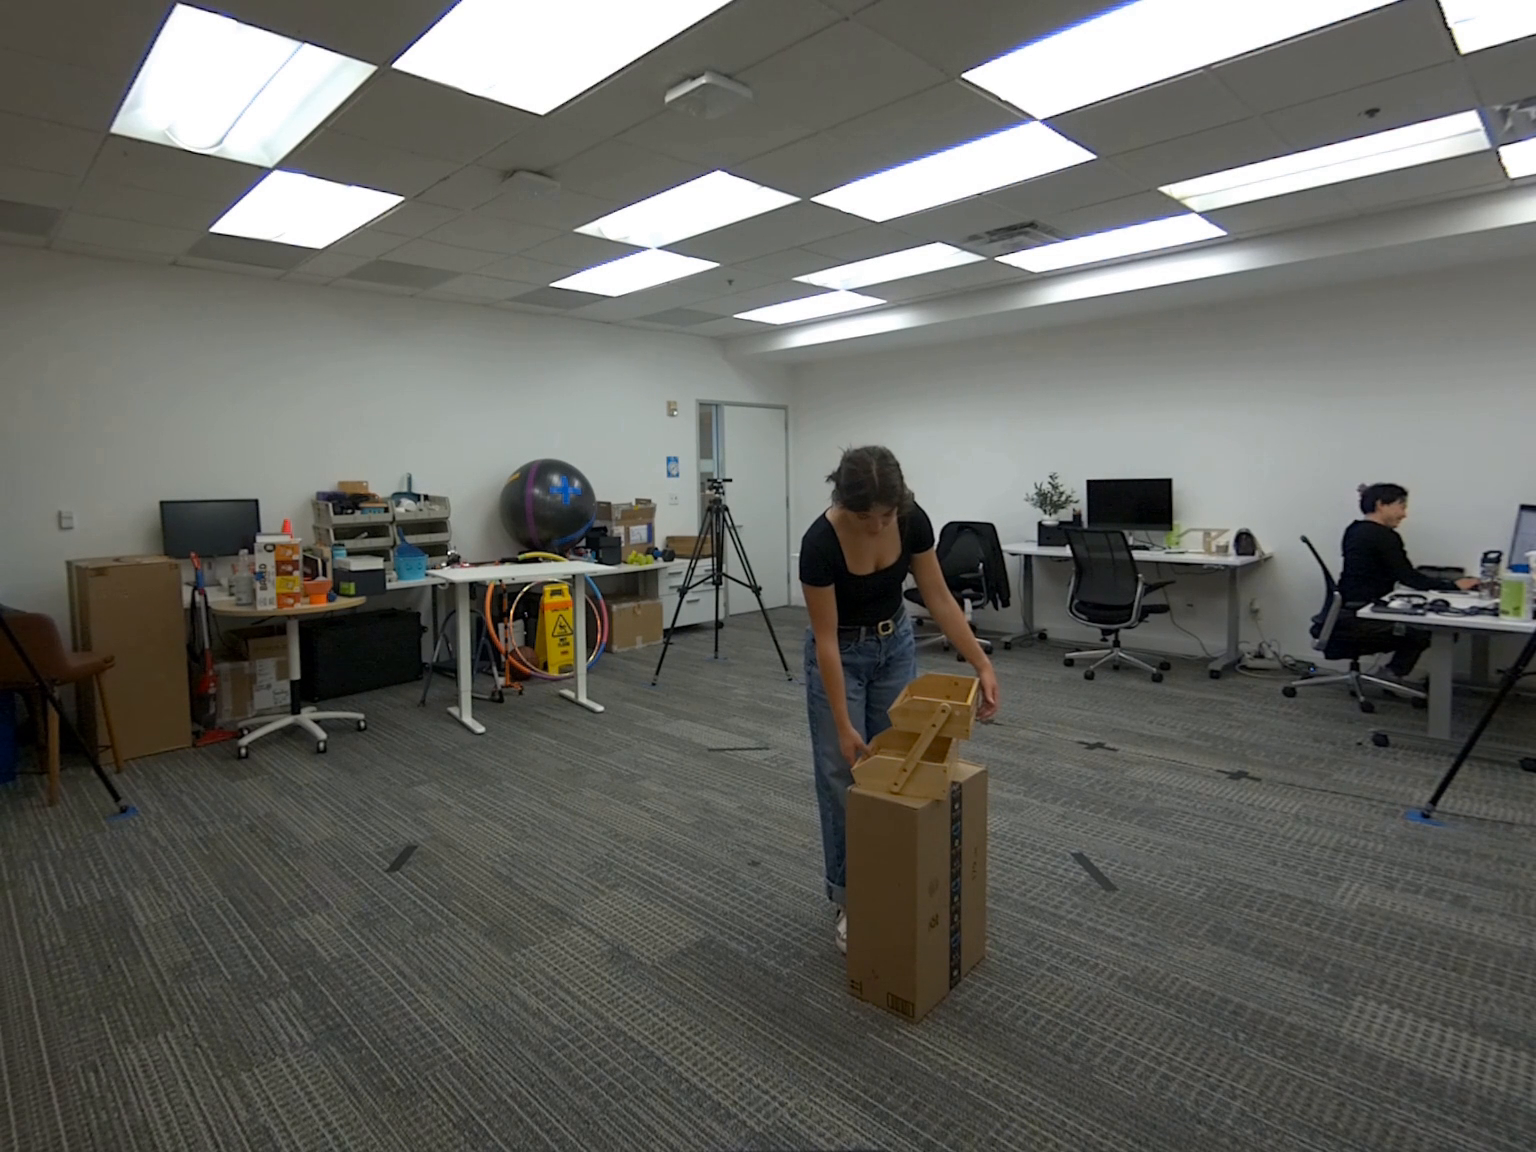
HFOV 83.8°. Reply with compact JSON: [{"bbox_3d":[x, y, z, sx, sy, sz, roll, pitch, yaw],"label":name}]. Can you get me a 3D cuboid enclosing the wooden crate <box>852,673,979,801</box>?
[{"bbox_3d":[0.418,0.428,2.361,0.308,0.272,0.319,3,6,20],"label":"wooden crate"}]
